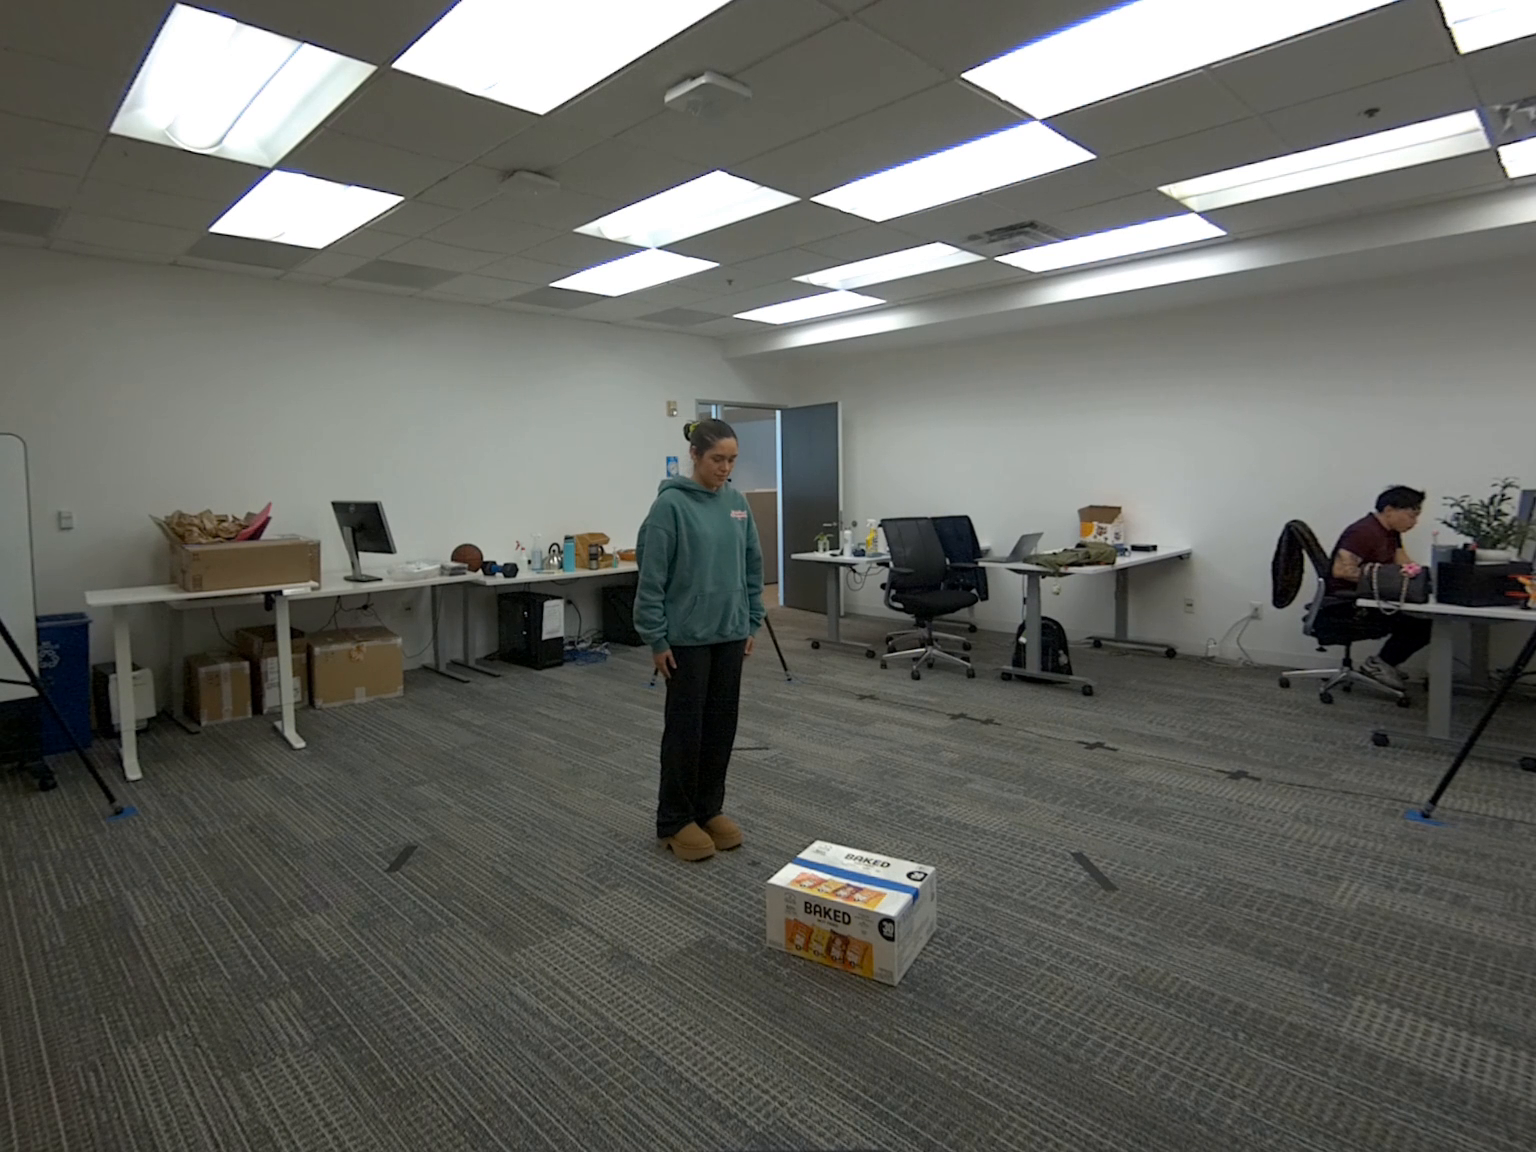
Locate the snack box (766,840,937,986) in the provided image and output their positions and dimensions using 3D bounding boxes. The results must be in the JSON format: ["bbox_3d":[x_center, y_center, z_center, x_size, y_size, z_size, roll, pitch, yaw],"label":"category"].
[{"bbox_3d":[0.260,1.001,2.571,0.416,0.205,0.333,2,7,31],"label":"snack box"}]
